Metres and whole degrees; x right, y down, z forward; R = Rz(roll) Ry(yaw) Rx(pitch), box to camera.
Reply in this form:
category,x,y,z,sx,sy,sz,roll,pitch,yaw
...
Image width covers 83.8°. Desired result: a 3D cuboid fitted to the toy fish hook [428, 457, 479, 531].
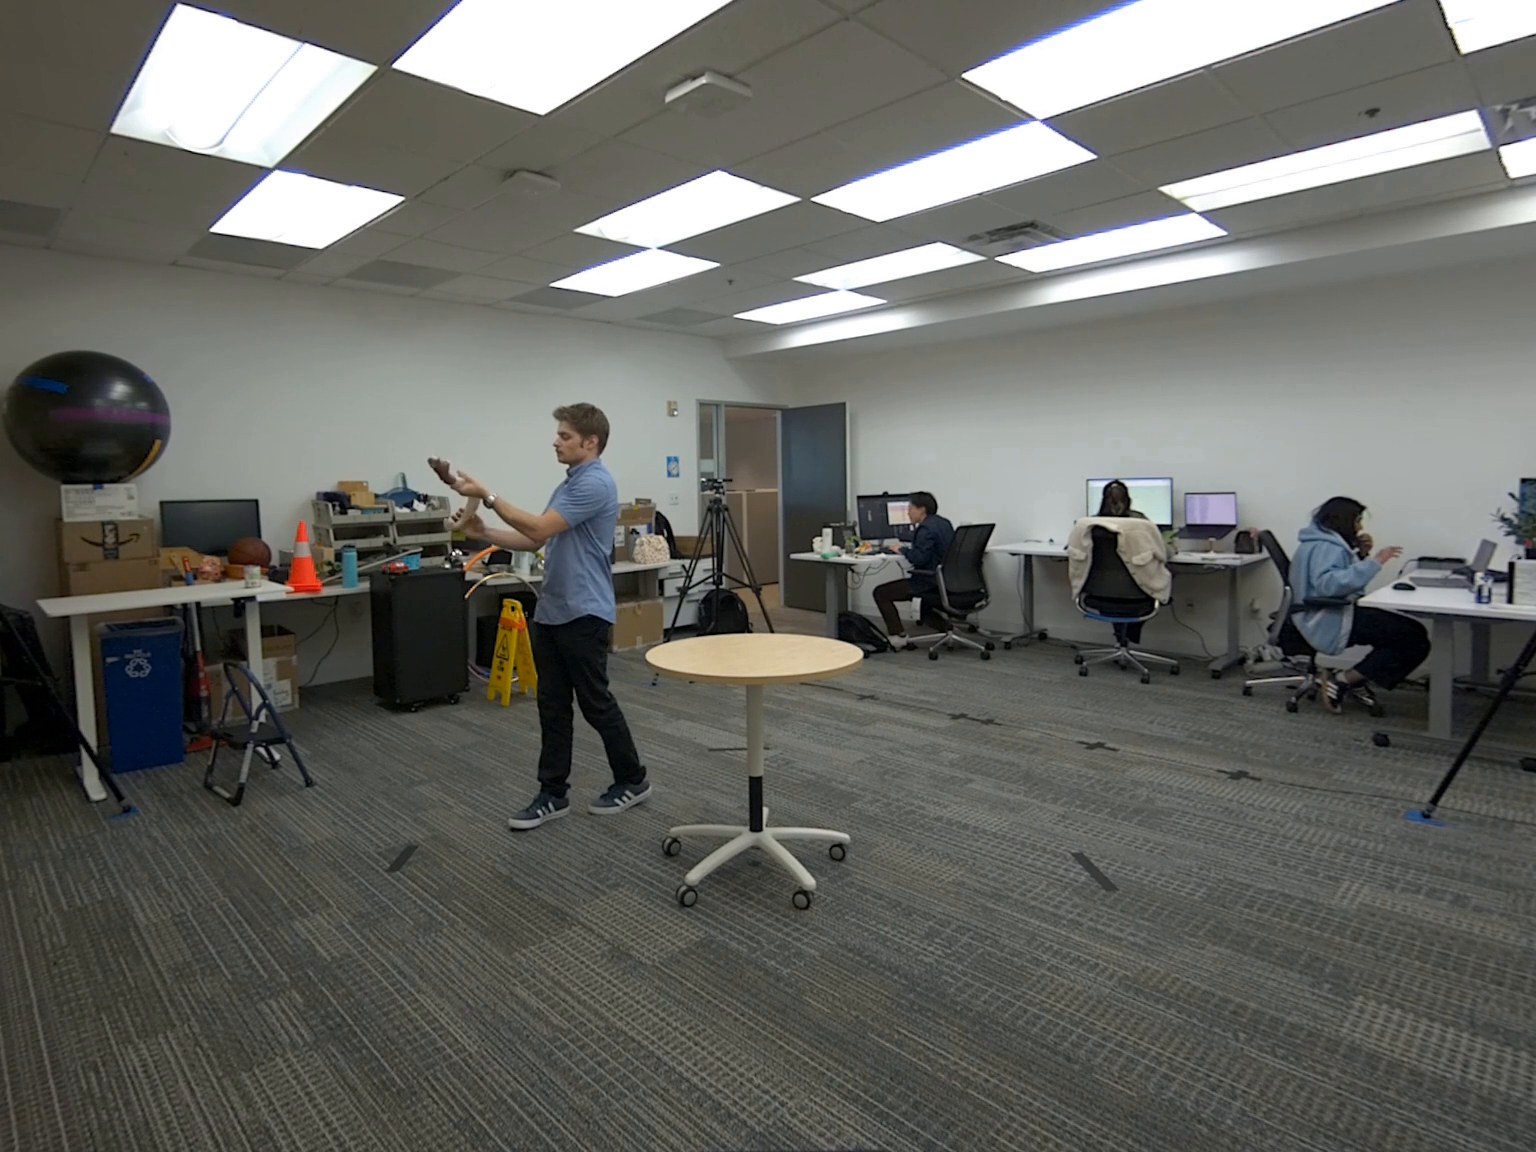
category,x,y,z,sx,sy,sz,roll,pitch,yaw
toy fish hook,-1.203,-0.310,3.235,0.049,0.226,0.498,21,-13,6
